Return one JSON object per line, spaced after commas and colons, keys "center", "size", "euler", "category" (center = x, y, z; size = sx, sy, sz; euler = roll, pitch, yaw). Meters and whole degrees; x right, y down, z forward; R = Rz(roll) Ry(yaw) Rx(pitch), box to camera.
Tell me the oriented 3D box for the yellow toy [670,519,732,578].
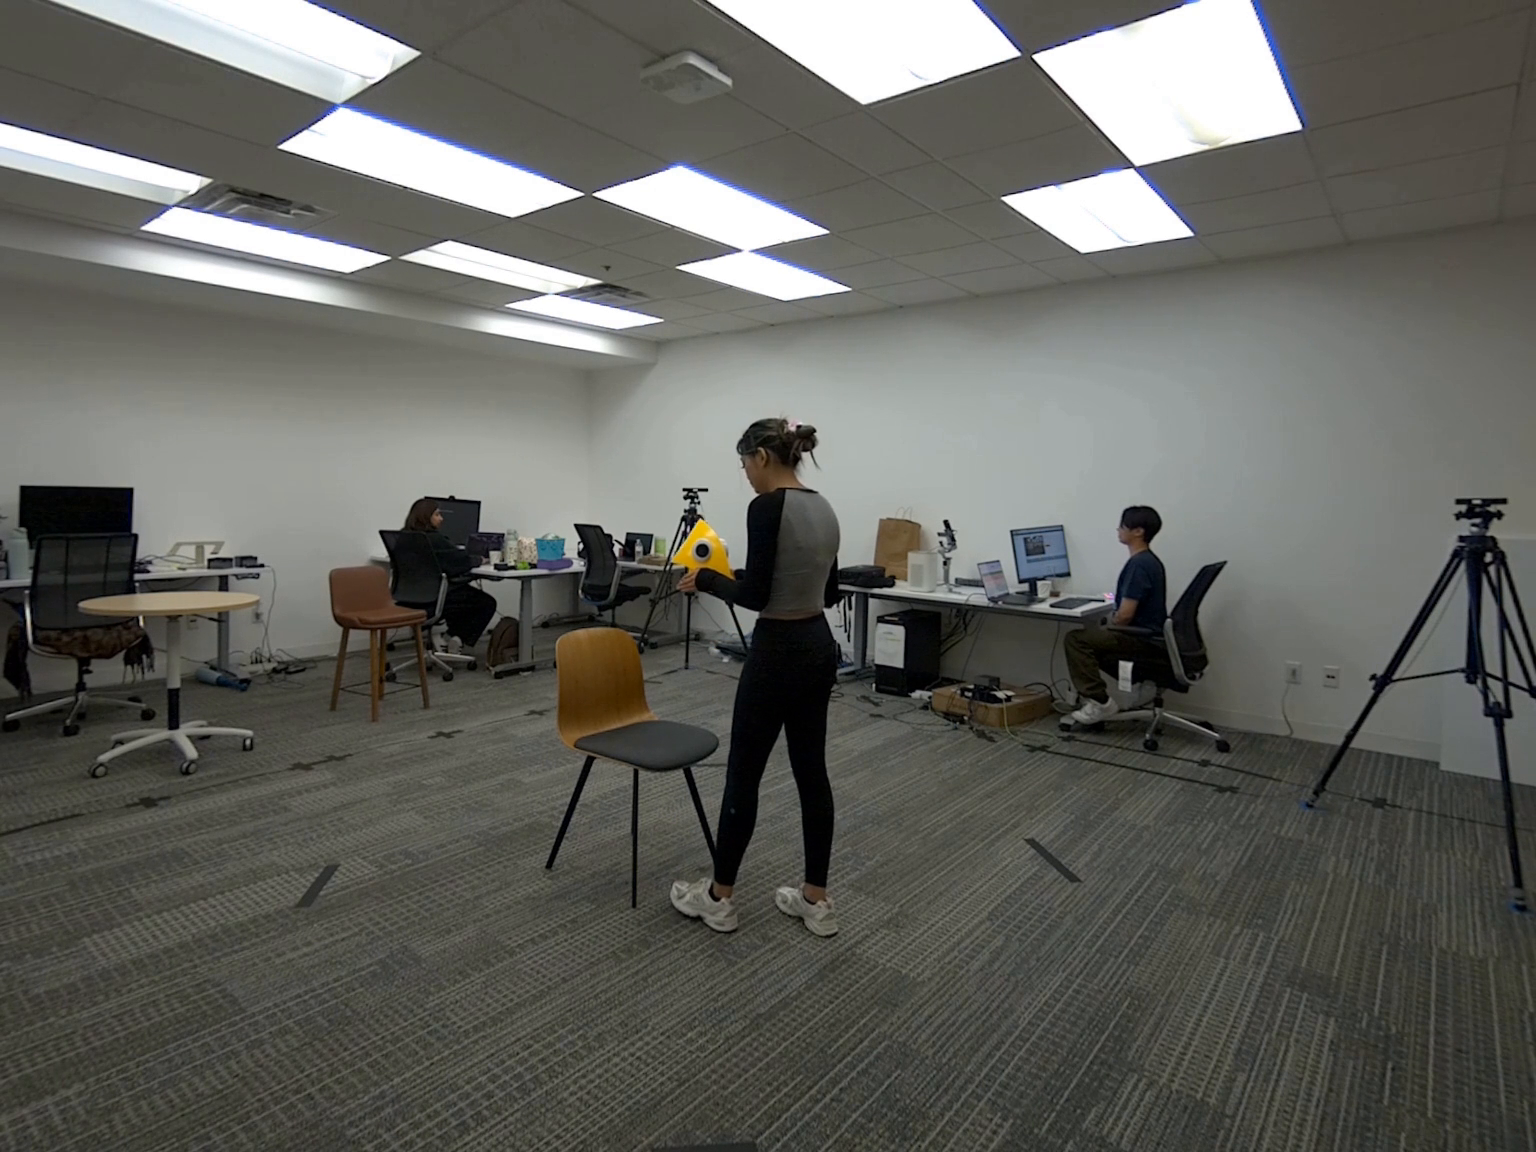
{"center": [-0.203, -0.078, 2.889], "size": [0.199, 0.230, 0.199], "euler": [7, 5, 35], "category": "yellow toy"}
